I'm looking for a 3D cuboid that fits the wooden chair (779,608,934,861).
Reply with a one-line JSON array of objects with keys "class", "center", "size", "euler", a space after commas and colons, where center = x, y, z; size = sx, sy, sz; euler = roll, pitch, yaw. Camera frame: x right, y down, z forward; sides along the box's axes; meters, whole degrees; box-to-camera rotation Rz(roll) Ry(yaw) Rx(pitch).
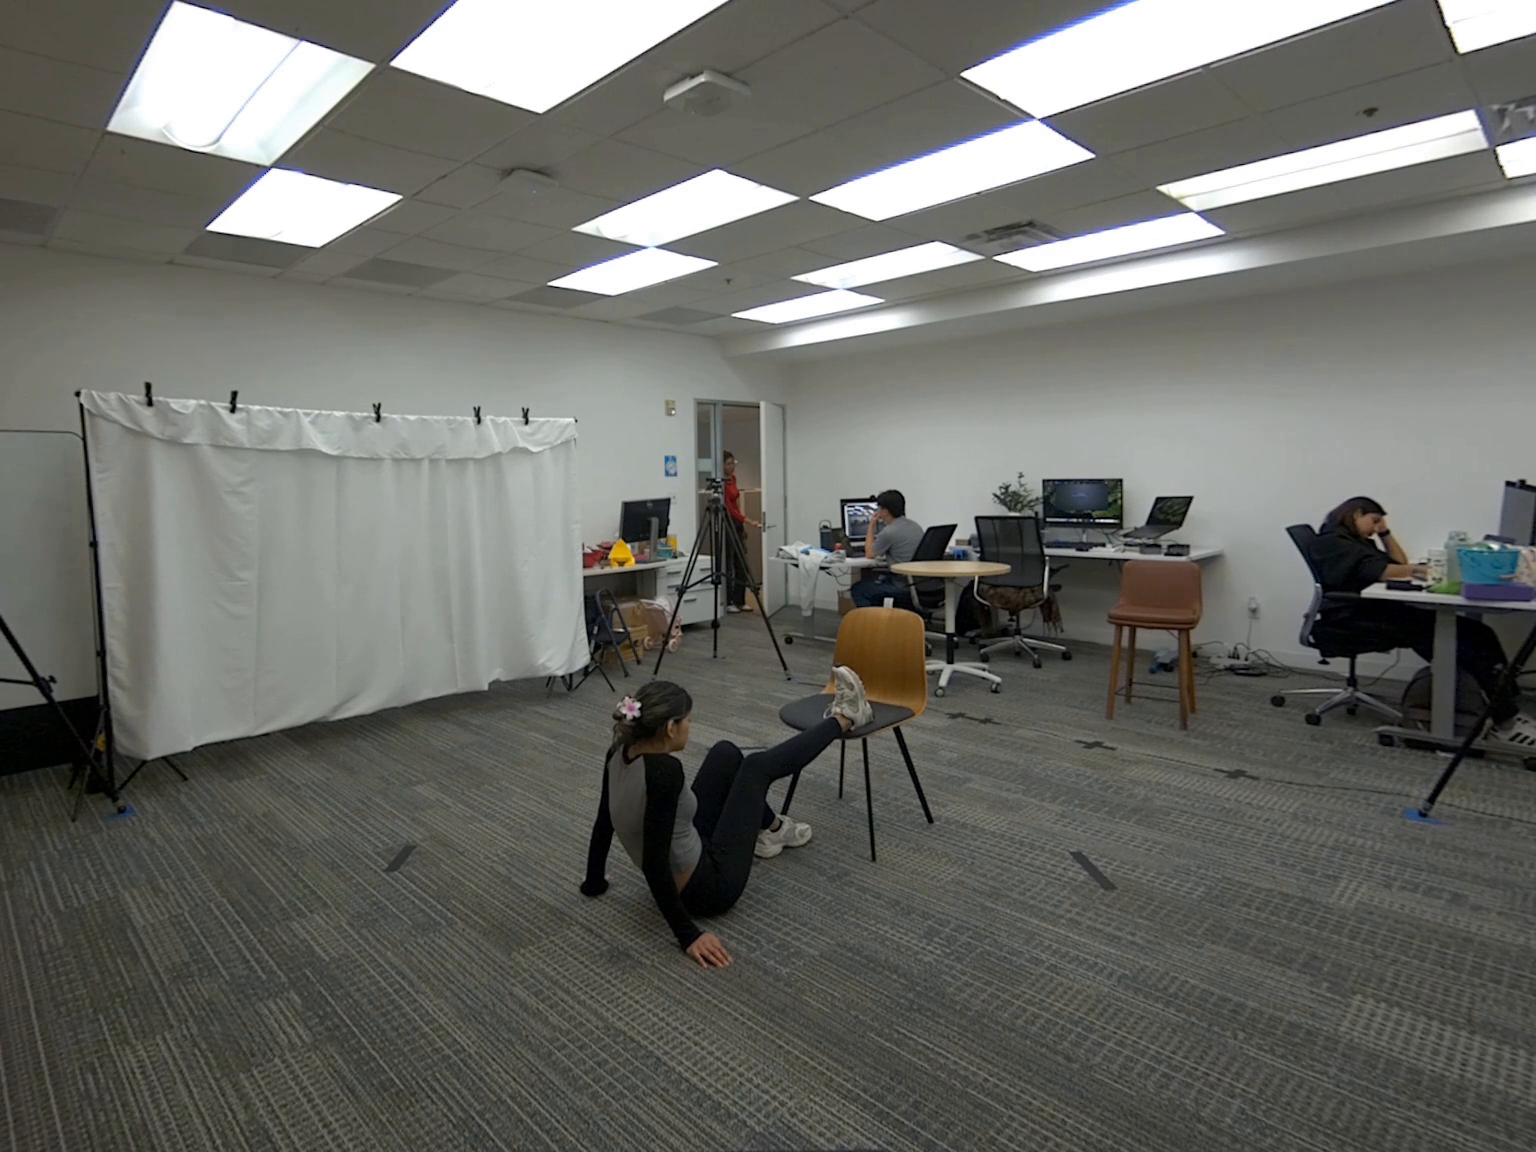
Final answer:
[{"class": "wooden chair", "center": [0.340, 0.576, 3.376], "size": [0.492, 0.877, 0.508], "euler": [3, 1, 40]}]
